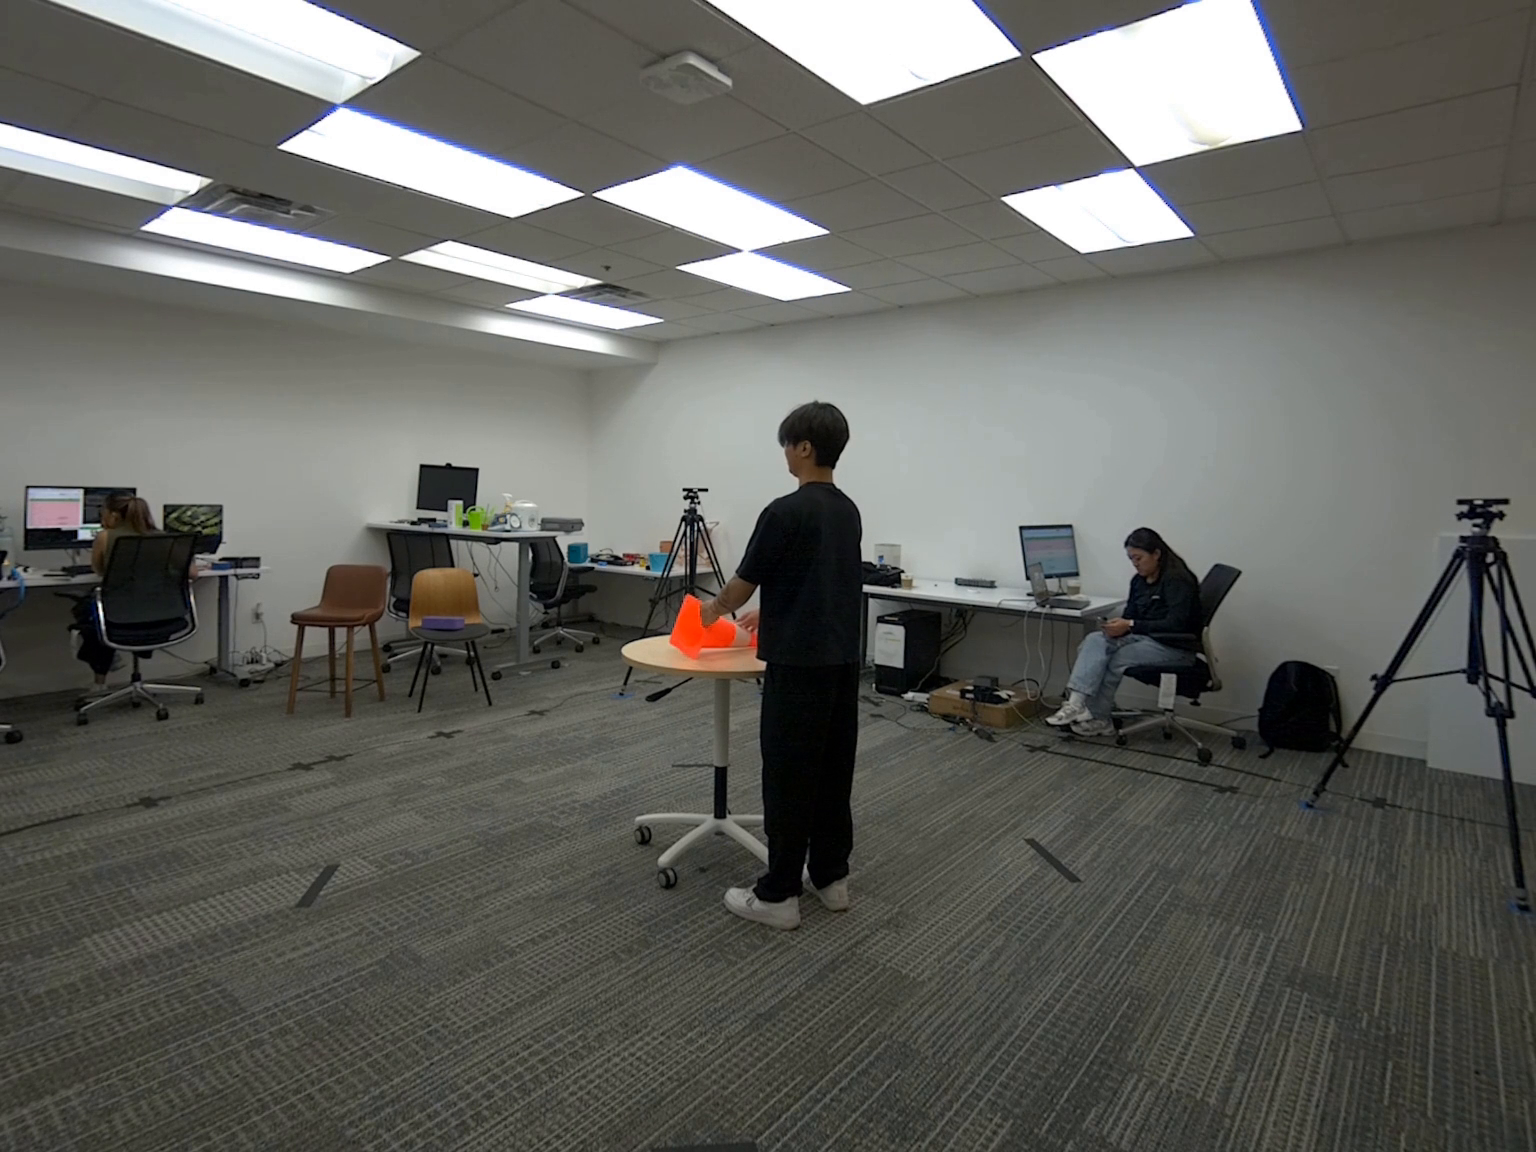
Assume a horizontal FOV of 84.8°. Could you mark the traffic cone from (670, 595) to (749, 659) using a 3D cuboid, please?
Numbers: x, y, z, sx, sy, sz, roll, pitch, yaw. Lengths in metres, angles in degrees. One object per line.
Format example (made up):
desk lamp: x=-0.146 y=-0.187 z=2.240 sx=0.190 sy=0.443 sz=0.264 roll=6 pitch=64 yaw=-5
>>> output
traffic cone: x=-0.145 y=0.221 z=3.201 sx=0.369 sy=0.204 sz=0.211 roll=16 pitch=6 yaw=-38
